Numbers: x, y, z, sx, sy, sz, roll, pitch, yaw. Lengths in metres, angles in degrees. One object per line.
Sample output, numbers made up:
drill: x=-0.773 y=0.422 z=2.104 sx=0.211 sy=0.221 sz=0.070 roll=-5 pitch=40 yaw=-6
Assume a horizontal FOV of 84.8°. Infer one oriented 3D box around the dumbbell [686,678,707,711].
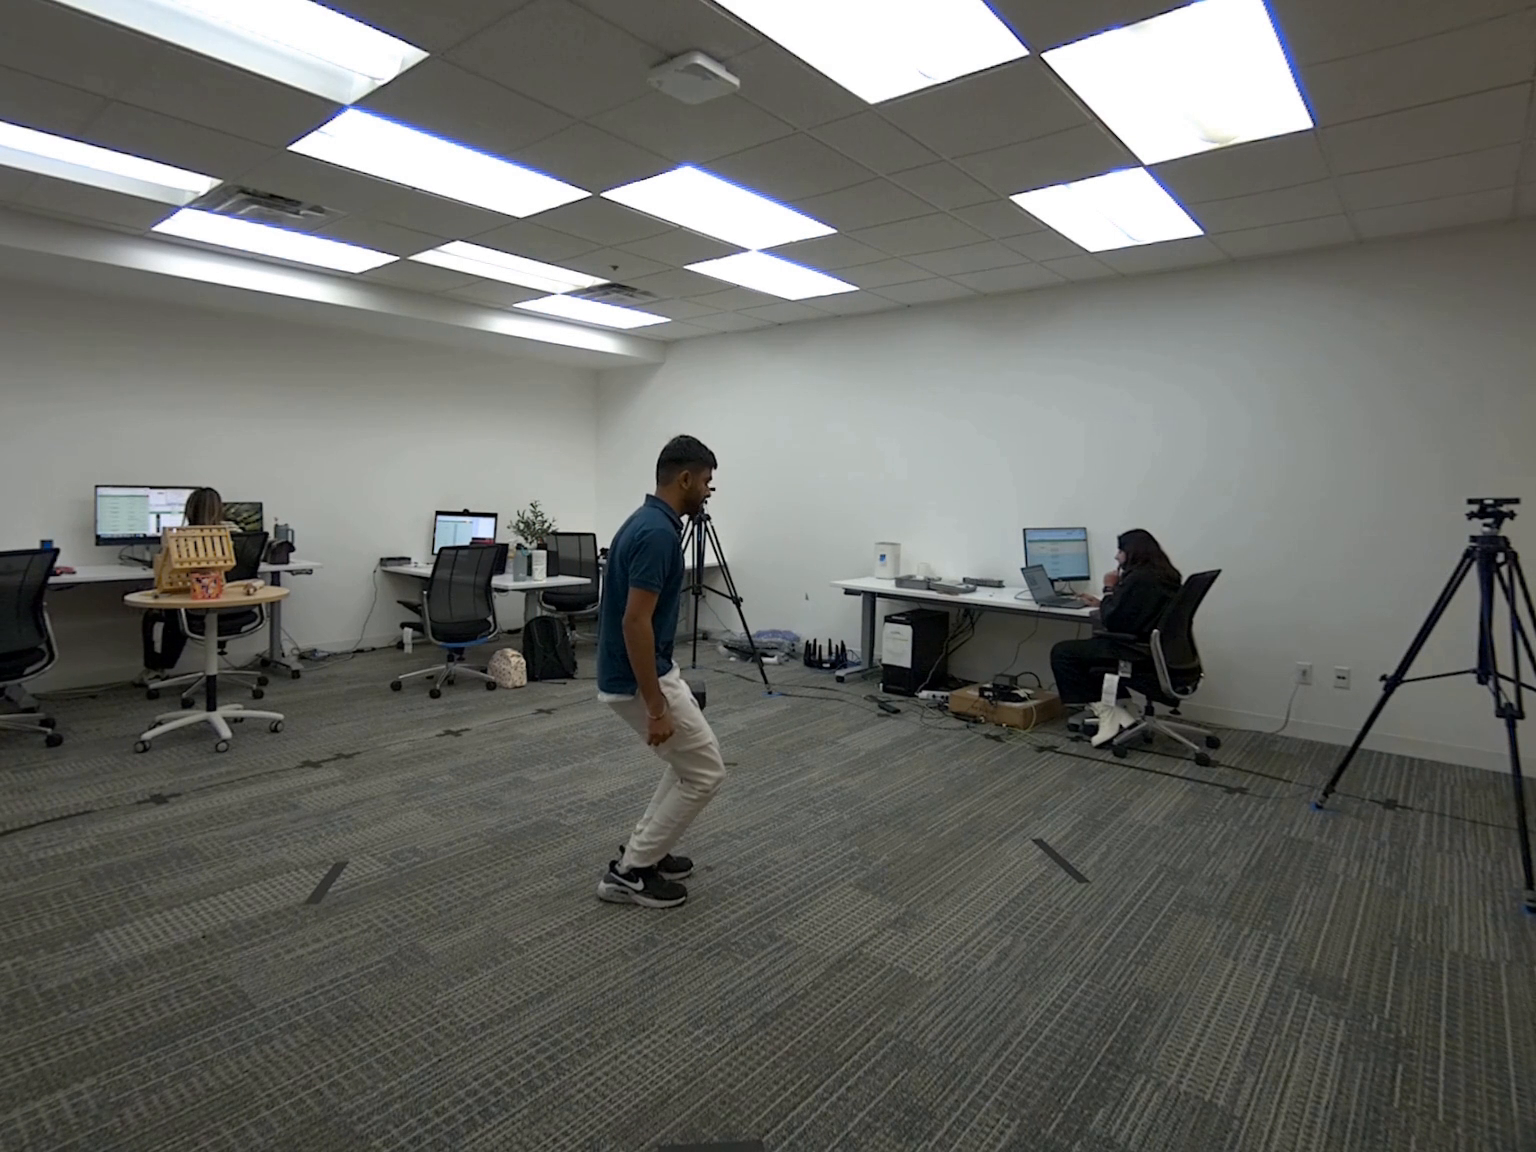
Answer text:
dumbbell: x=-0.389 y=0.406 z=3.154 sx=0.291 sy=0.122 sz=0.110 roll=4 pitch=8 yaw=-9
